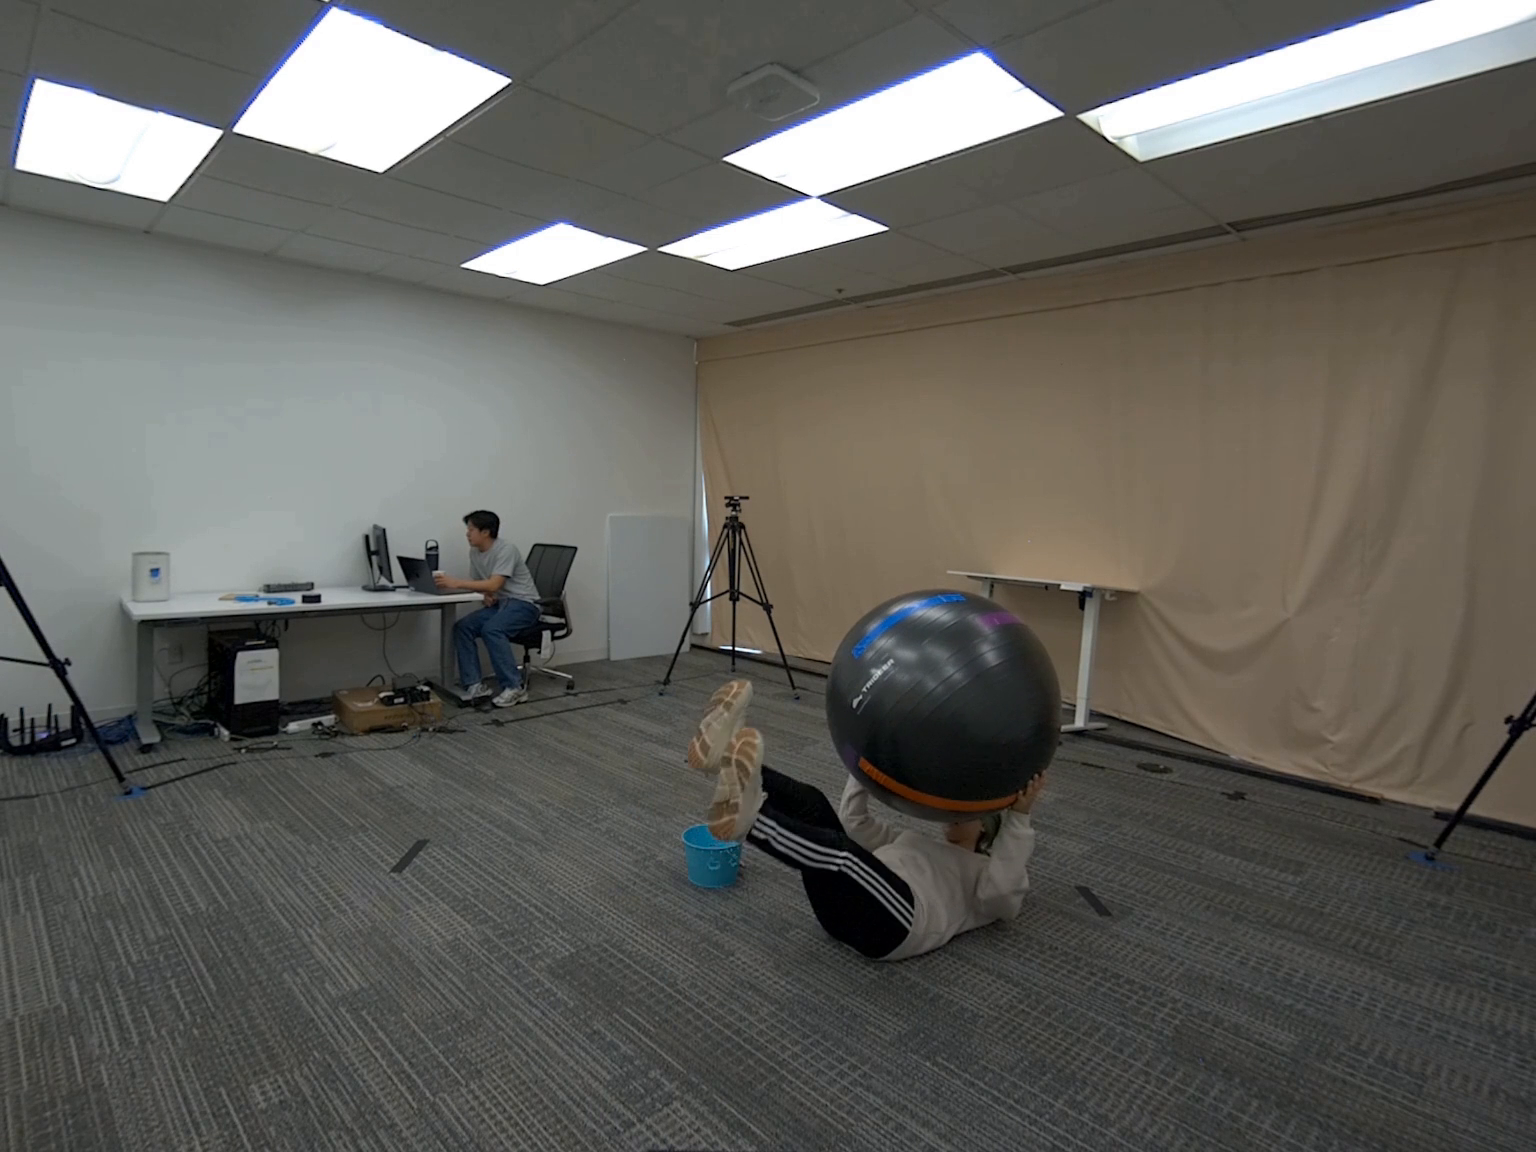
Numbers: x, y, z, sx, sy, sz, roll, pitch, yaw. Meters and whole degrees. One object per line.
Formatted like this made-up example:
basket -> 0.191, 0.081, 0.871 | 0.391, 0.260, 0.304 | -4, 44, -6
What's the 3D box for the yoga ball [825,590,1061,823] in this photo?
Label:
yoga ball -> 0.571, 0.422, 2.795 | 0.757, 0.756, 0.761 | 1, 4, -1
